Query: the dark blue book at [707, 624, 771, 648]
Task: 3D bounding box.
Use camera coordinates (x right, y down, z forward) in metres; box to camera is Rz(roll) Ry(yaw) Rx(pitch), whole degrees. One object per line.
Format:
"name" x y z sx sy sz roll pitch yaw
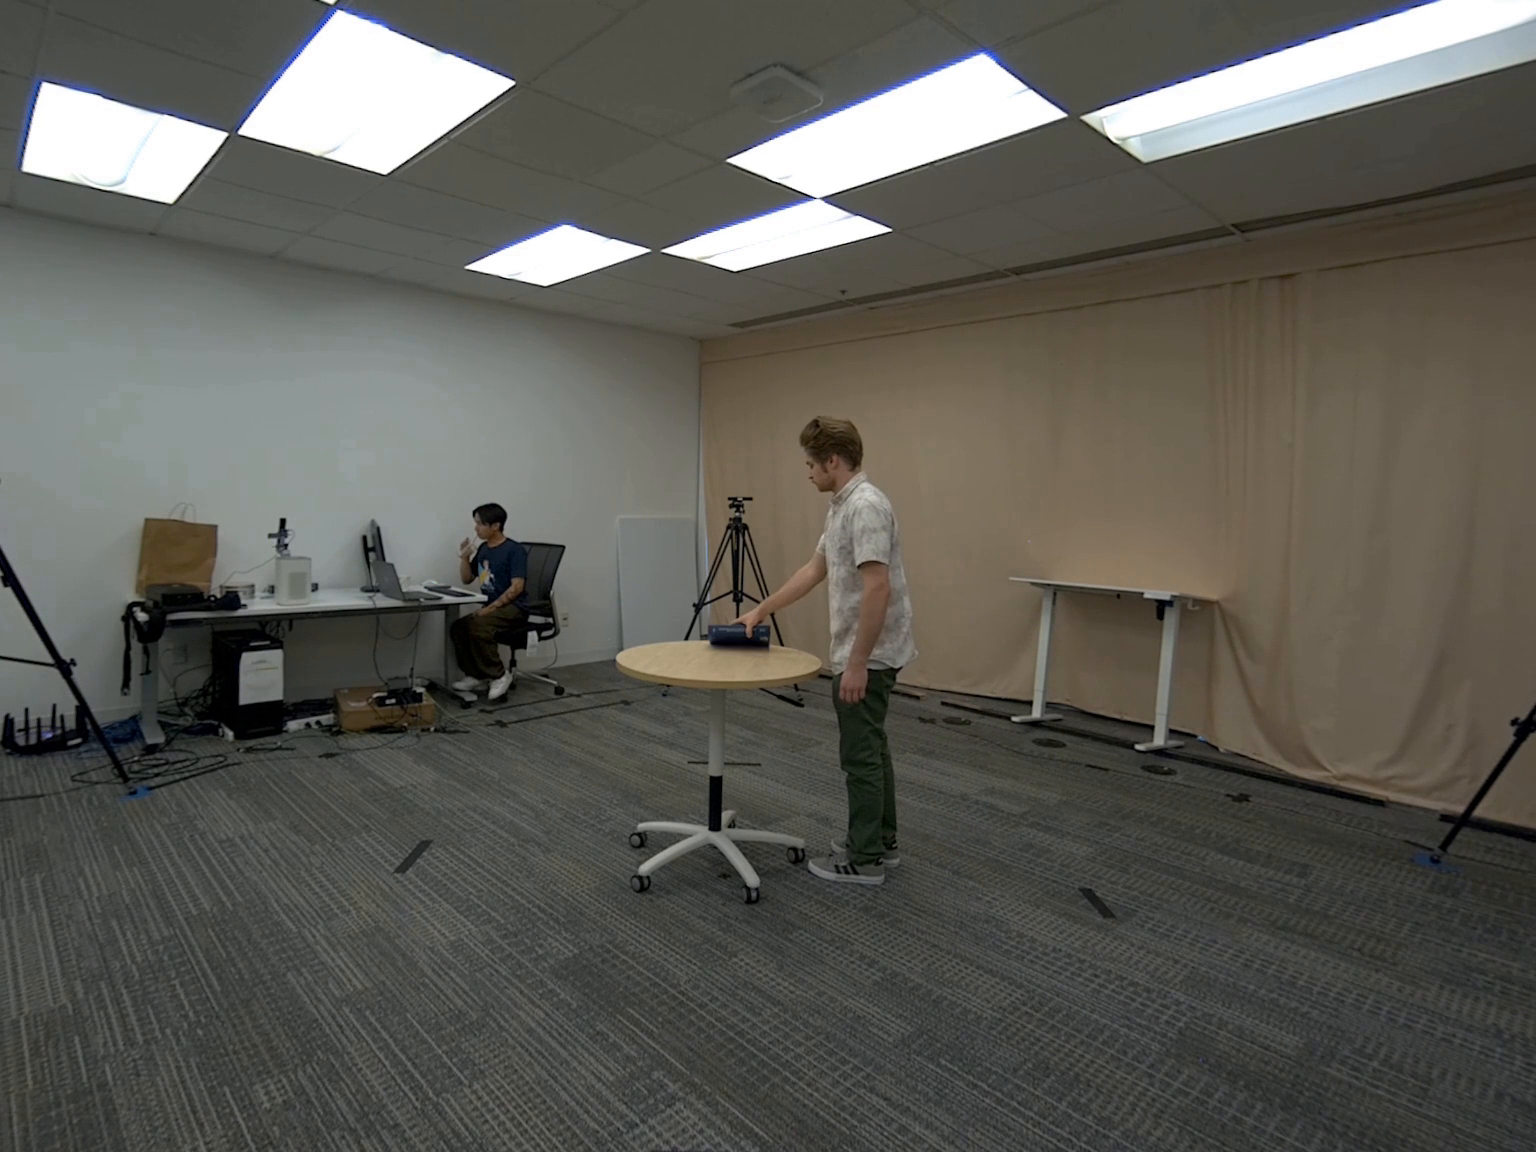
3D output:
"dark blue book" -0.117 0.238 3.375 0.246 0.046 0.161 0 -20 3
